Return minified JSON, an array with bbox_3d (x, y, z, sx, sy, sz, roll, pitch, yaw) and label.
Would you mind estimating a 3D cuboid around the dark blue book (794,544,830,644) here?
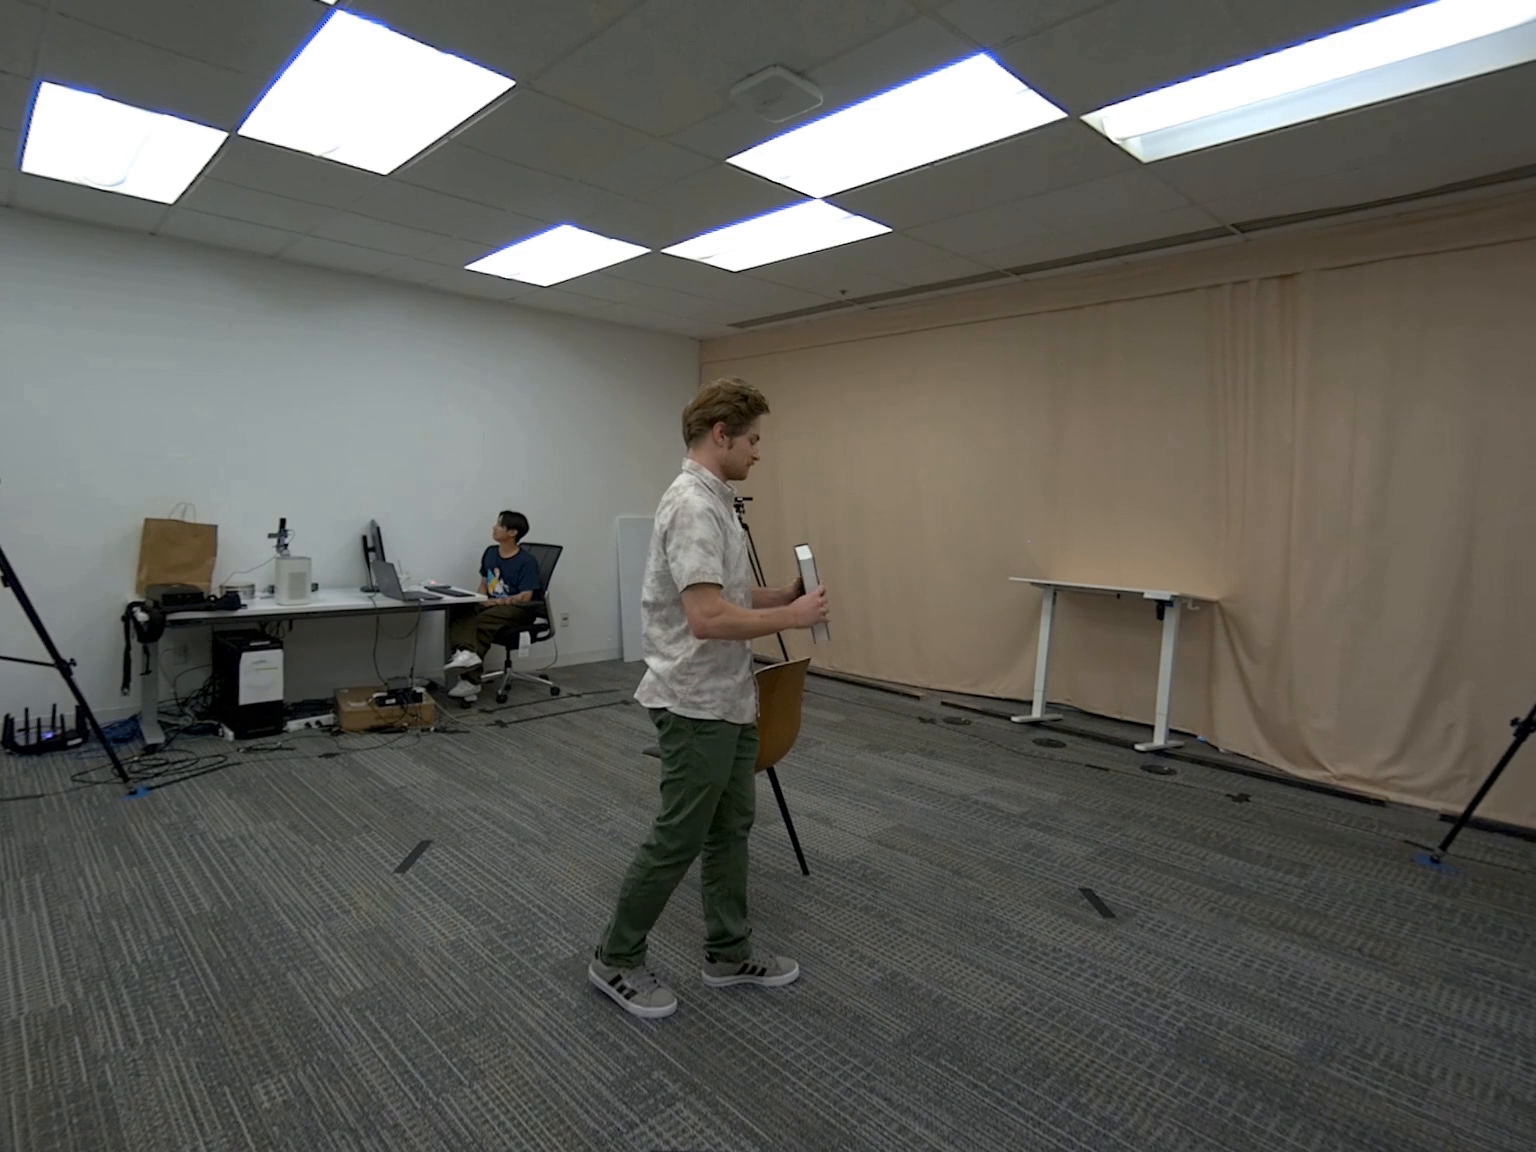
[{"bbox_3d":[0.113,0.047,2.328,0.045,0.243,0.165,-11,10,-2],"label":"dark blue book"}]
